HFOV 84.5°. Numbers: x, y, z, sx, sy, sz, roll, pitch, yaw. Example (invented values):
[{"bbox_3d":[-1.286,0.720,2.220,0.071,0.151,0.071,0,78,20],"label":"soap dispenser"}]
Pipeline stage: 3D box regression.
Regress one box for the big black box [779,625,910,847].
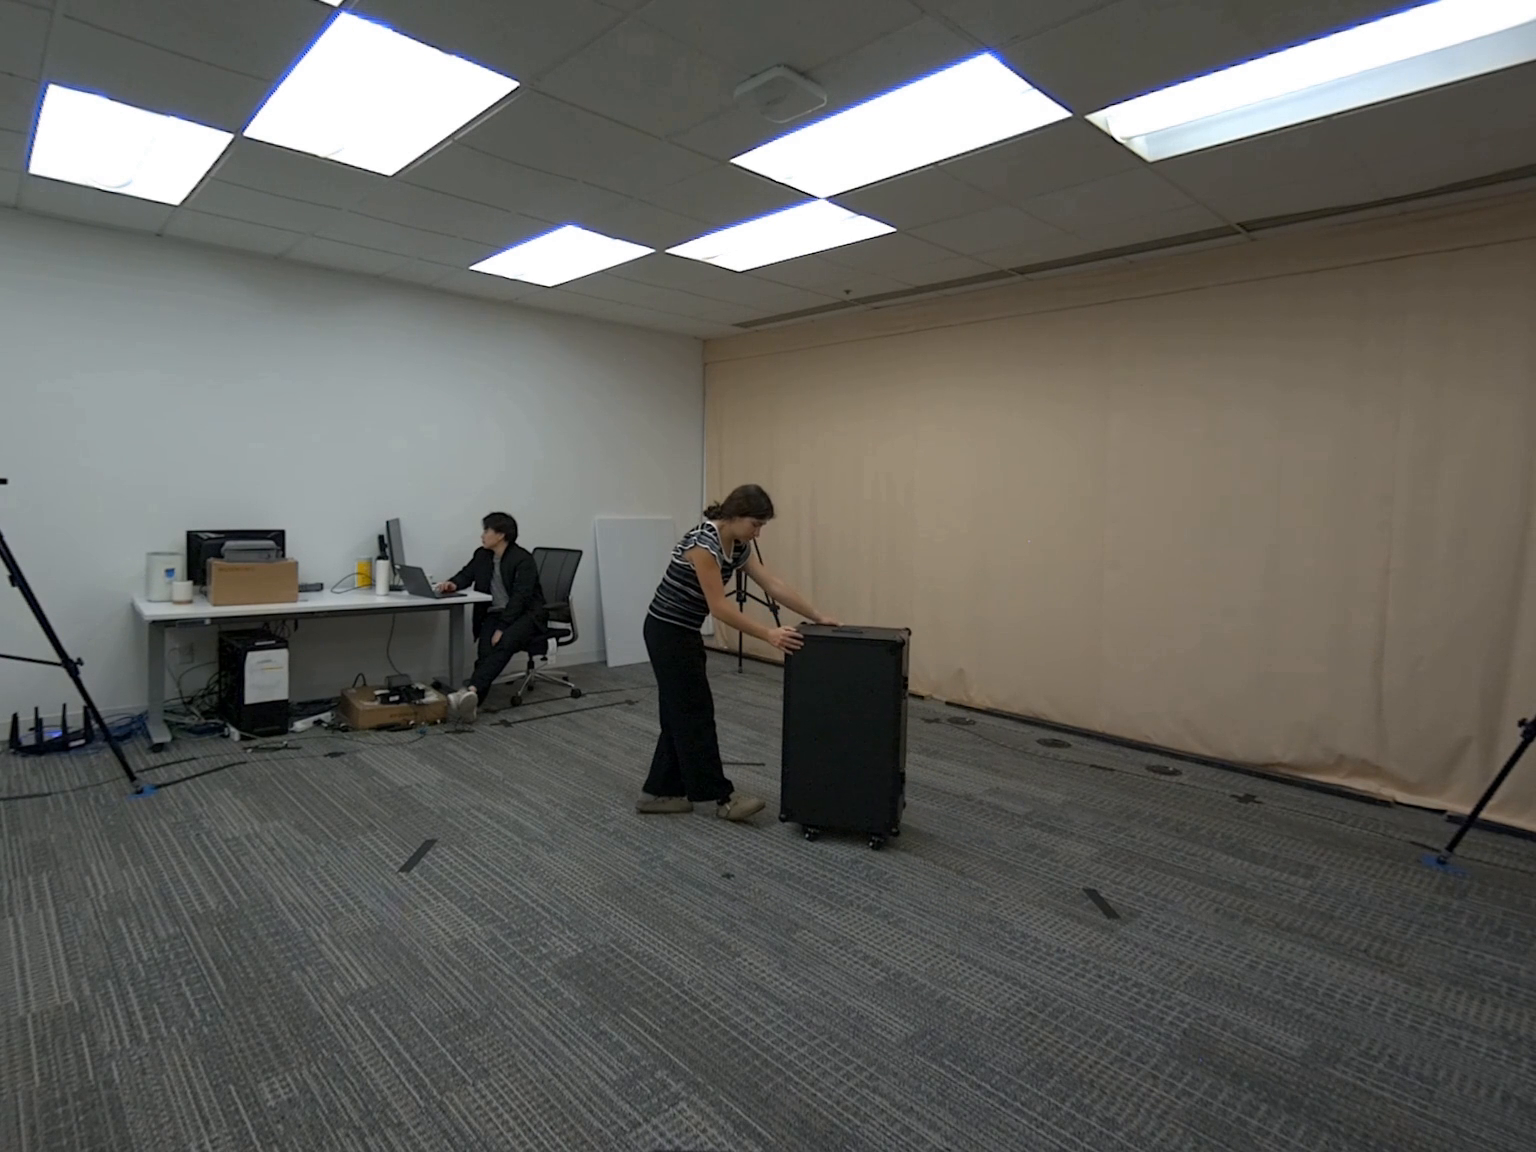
[{"bbox_3d":[0.325,0.659,3.556,0.528,0.860,0.392,2,2,15],"label":"big black box"}]
